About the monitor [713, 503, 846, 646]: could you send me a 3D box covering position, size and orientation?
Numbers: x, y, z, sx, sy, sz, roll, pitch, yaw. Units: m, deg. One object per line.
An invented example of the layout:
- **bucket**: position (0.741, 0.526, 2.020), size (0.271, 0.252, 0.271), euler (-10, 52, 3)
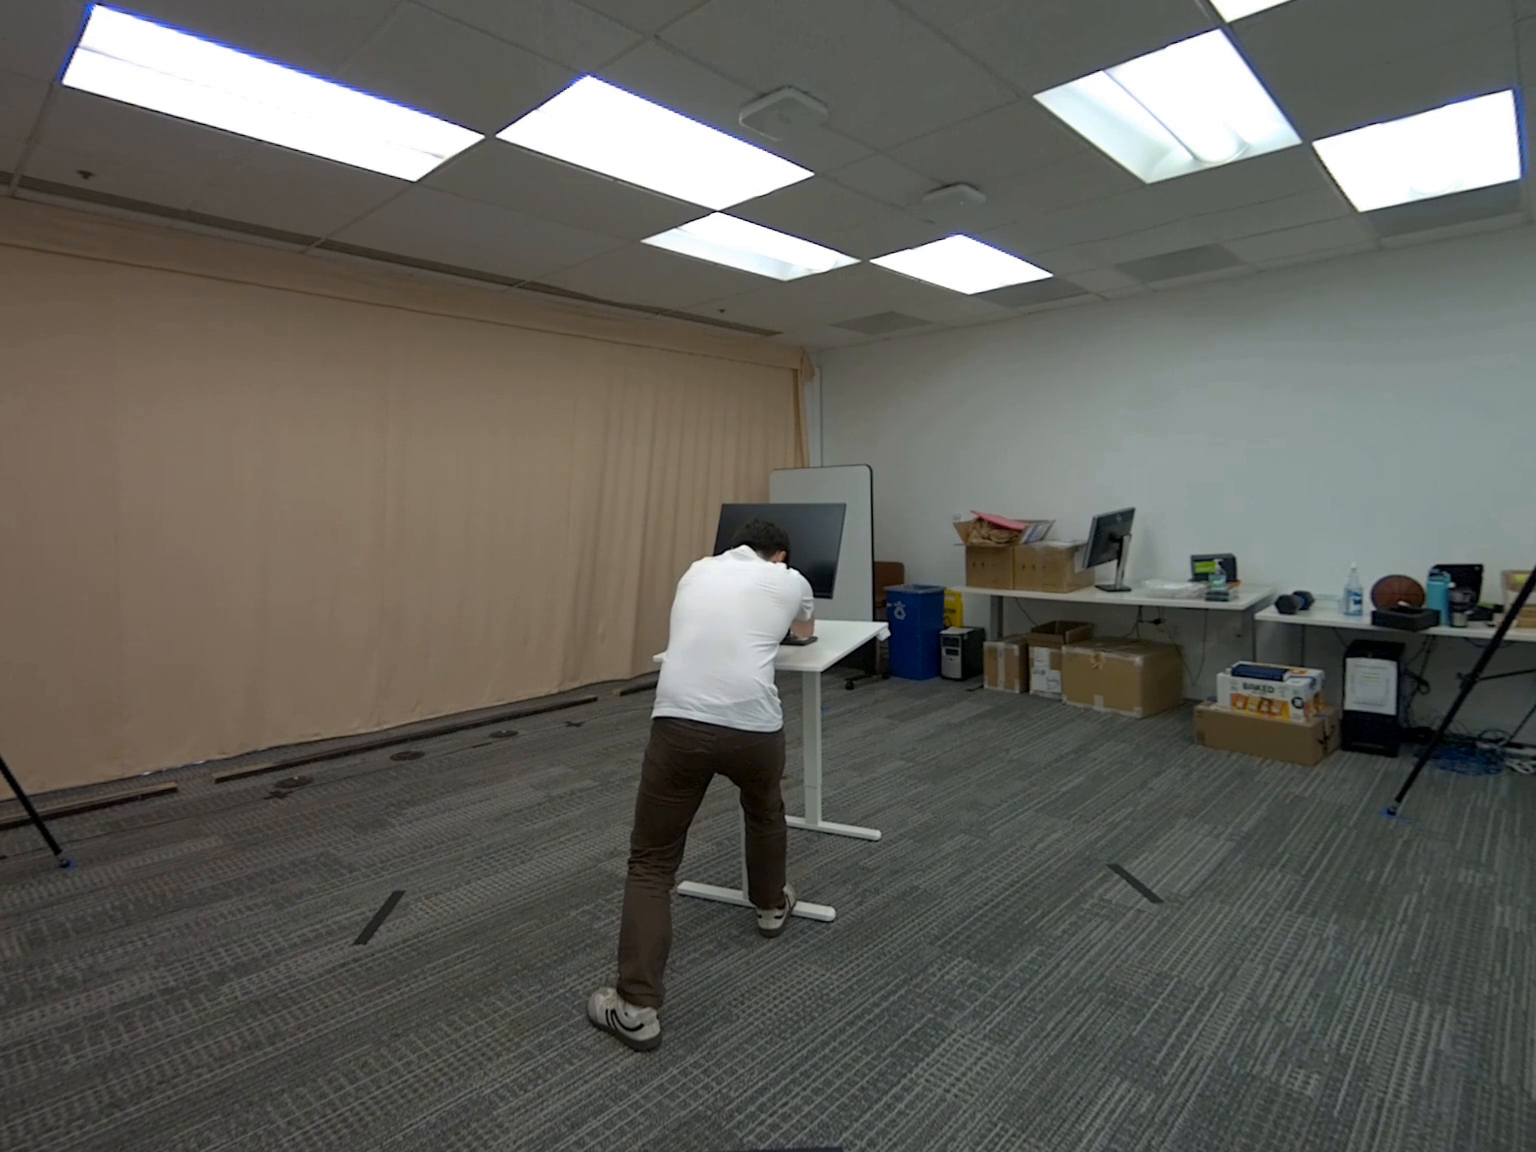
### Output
- **monitor**: position (0.045, -0.014, 3.154), size (0.555, 0.522, 0.182), euler (3, 1, 31)
